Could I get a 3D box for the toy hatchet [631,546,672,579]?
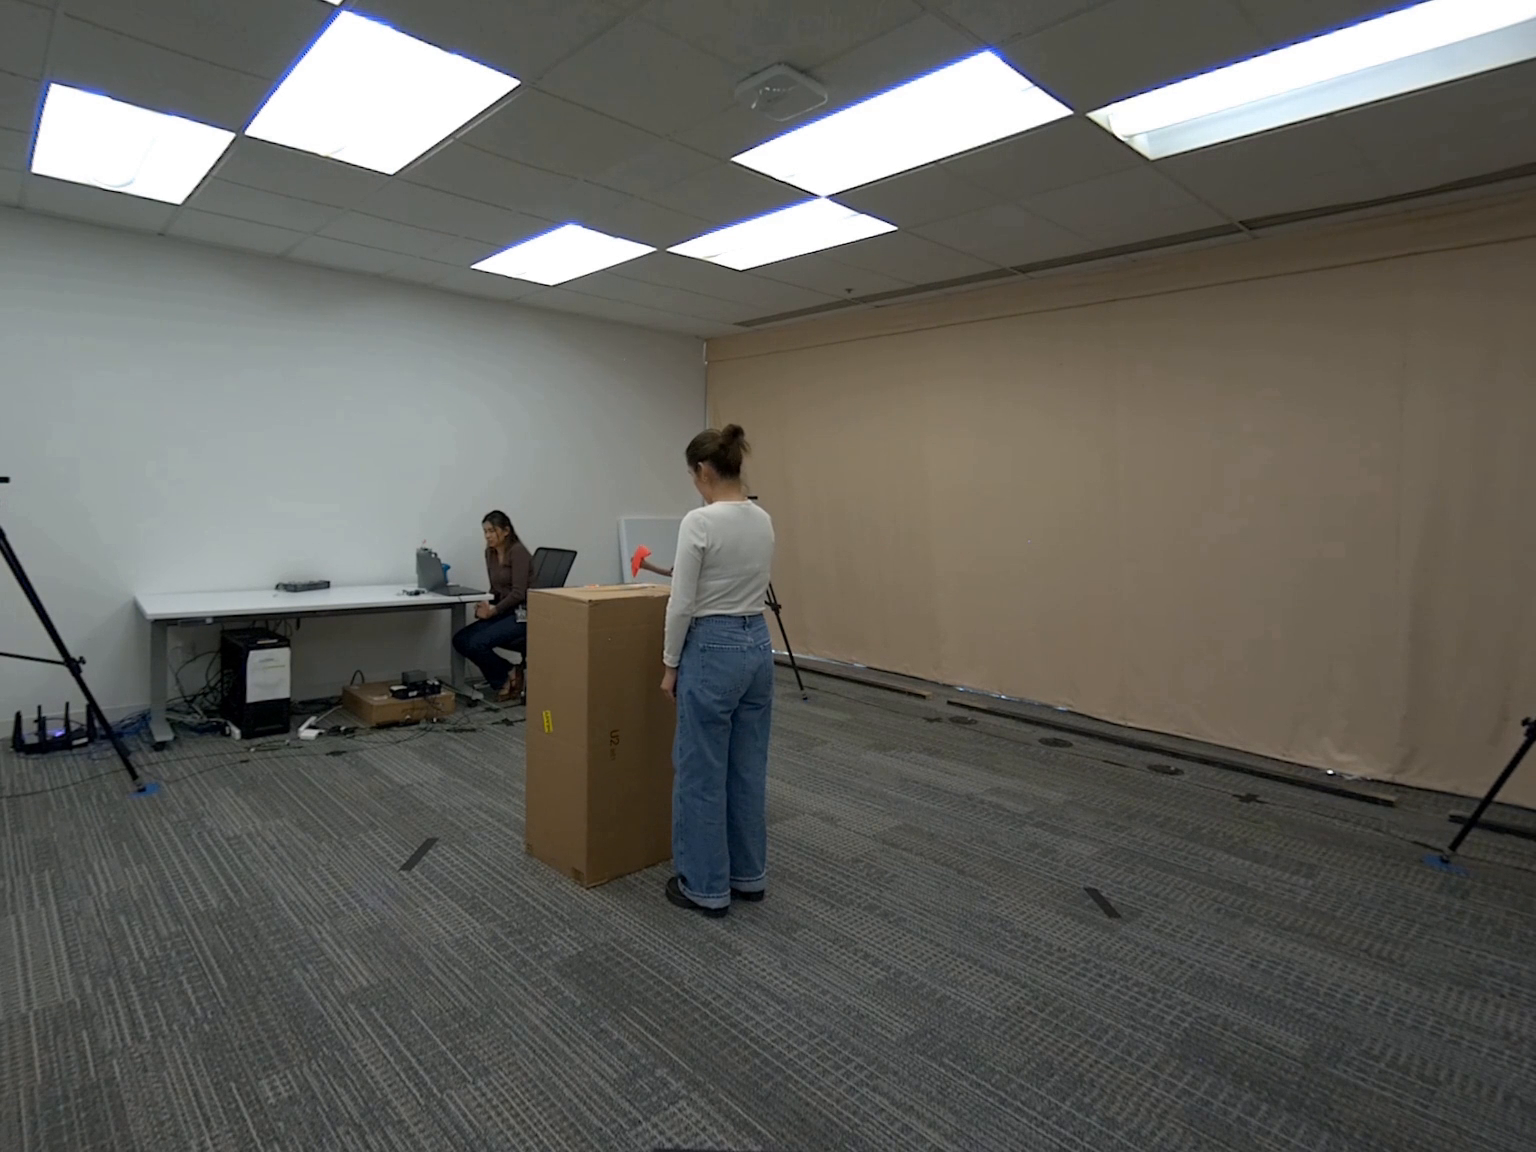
[{"bbox_3d":[-0.438,-0.053,3.290,0.275,0.131,0.029,0,-1,30],"label":"toy hatchet"}]
